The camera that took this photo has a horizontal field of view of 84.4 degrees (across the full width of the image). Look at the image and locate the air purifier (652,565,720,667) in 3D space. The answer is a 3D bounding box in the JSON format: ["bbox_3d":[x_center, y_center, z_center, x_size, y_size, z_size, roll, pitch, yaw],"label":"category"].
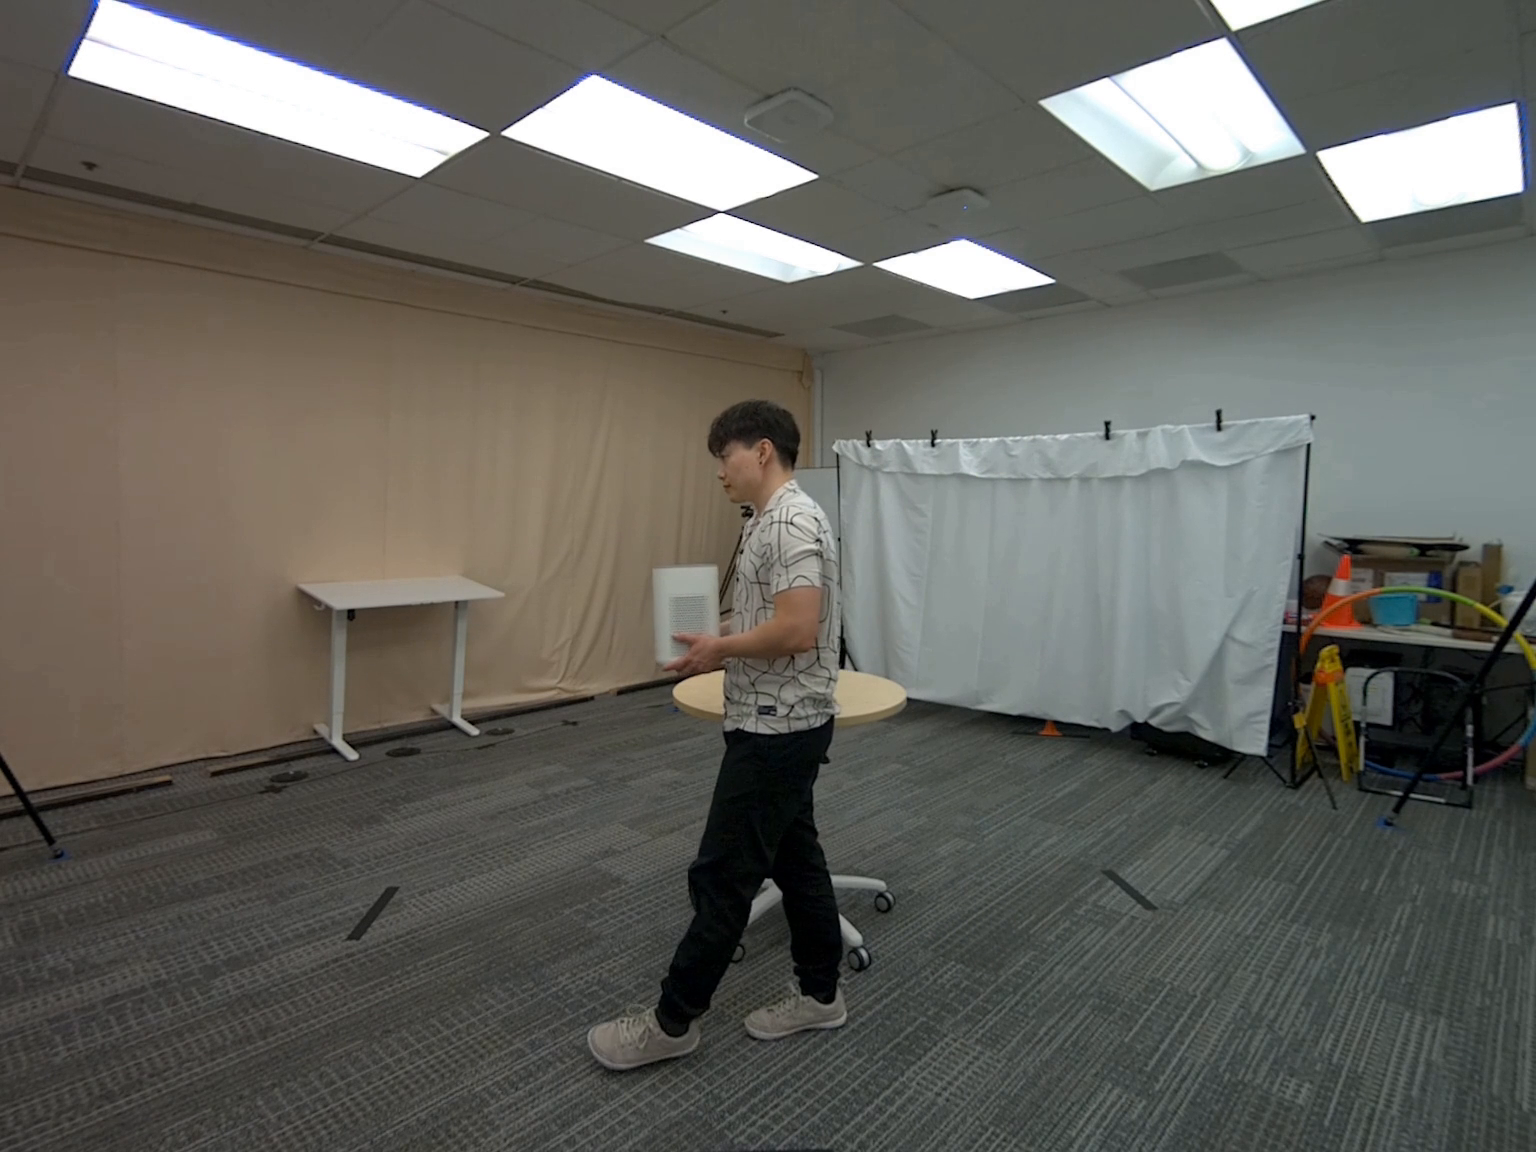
[{"bbox_3d":[-0.210,0.107,2.198,0.171,0.265,0.171,1,-1,-4],"label":"air purifier"}]
